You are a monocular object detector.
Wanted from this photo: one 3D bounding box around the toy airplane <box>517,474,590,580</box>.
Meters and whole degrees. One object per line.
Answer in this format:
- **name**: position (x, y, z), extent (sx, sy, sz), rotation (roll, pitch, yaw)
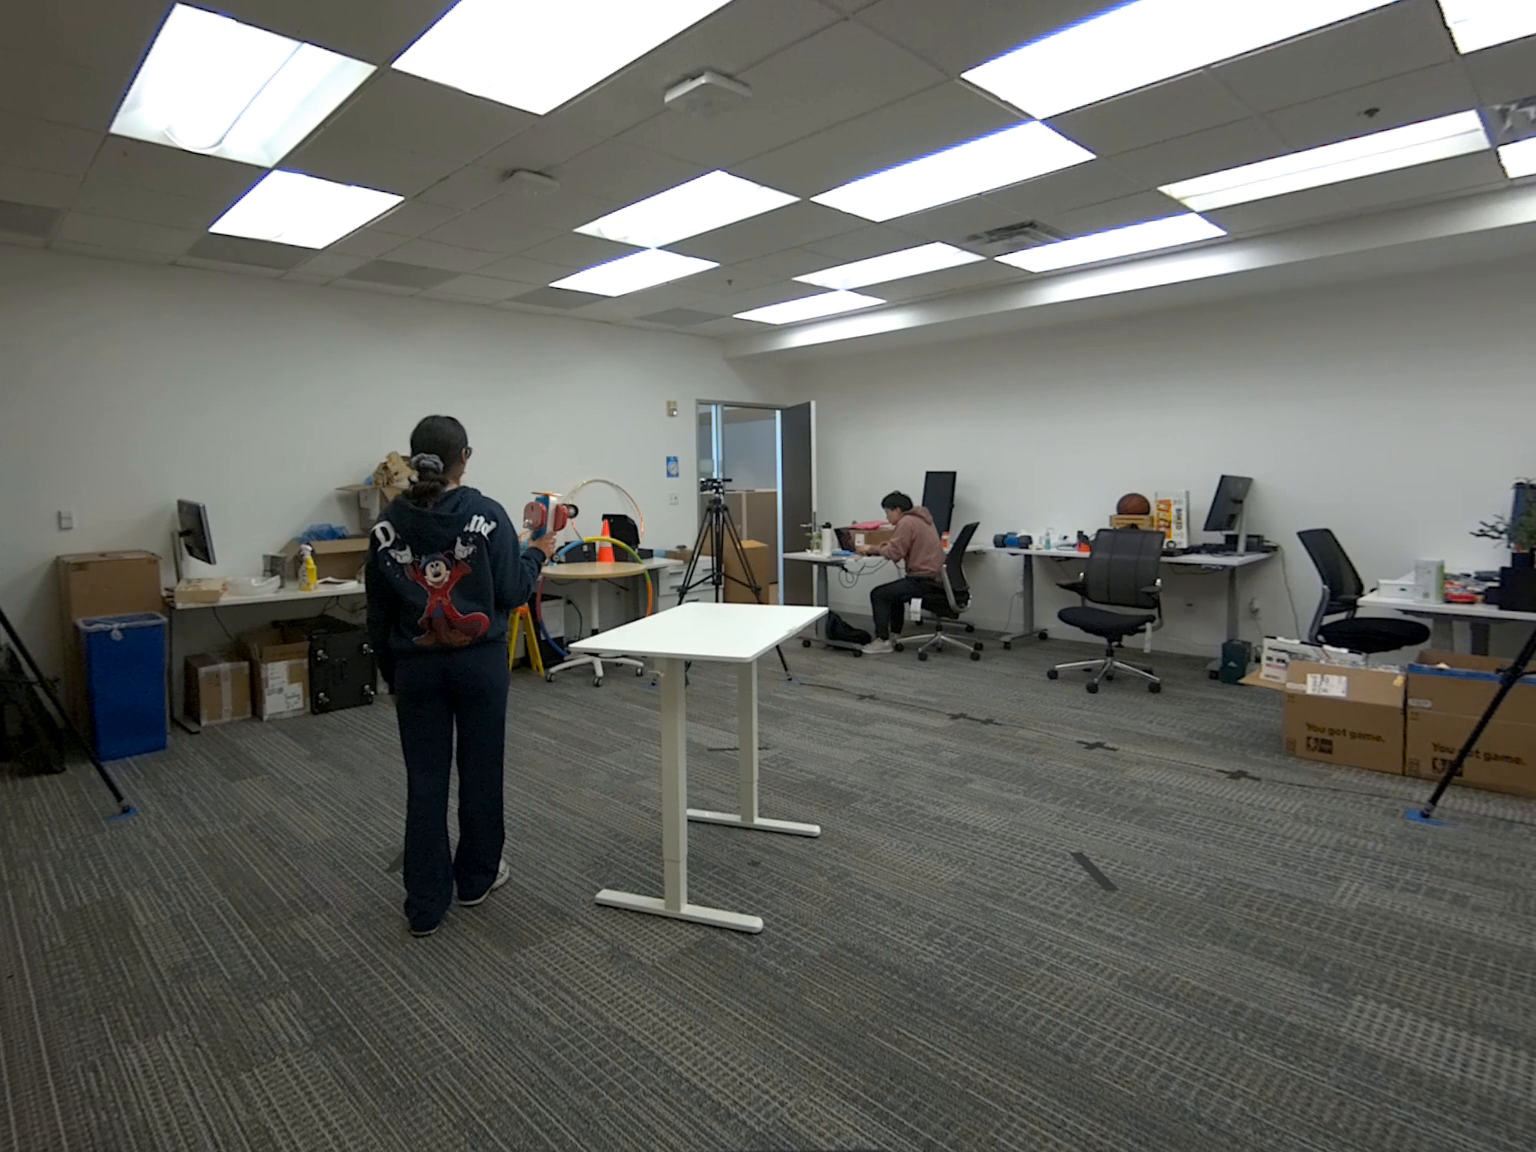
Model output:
- **toy airplane**: position (-0.778, -0.172, 3.048), extent (0.152, 0.265, 0.253), rotation (21, -34, -28)
